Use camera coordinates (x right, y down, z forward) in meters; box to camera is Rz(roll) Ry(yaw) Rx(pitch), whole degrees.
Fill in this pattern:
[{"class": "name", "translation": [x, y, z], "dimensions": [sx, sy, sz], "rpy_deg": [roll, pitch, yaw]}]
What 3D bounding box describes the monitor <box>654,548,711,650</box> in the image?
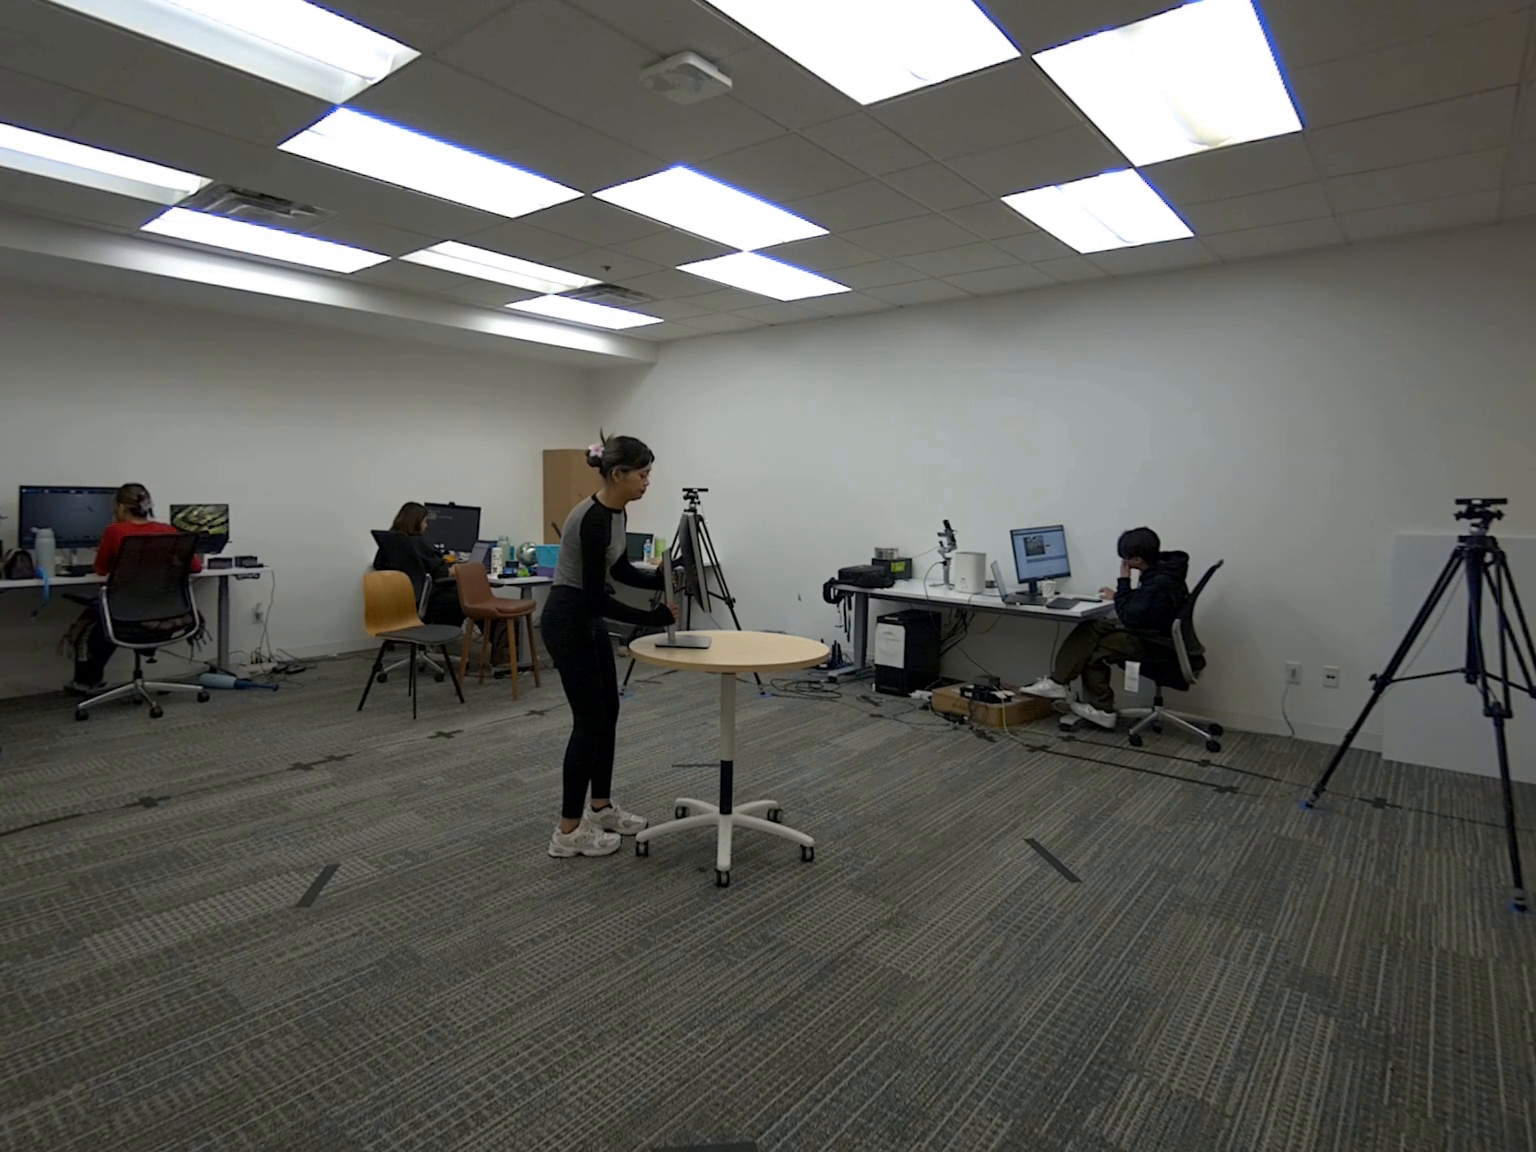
[{"class": "monitor", "translation": [-0.337, 0.017, 3.290], "dimensions": [0.185, 0.521, 0.545], "rpy_deg": [1, 3, -10]}]
